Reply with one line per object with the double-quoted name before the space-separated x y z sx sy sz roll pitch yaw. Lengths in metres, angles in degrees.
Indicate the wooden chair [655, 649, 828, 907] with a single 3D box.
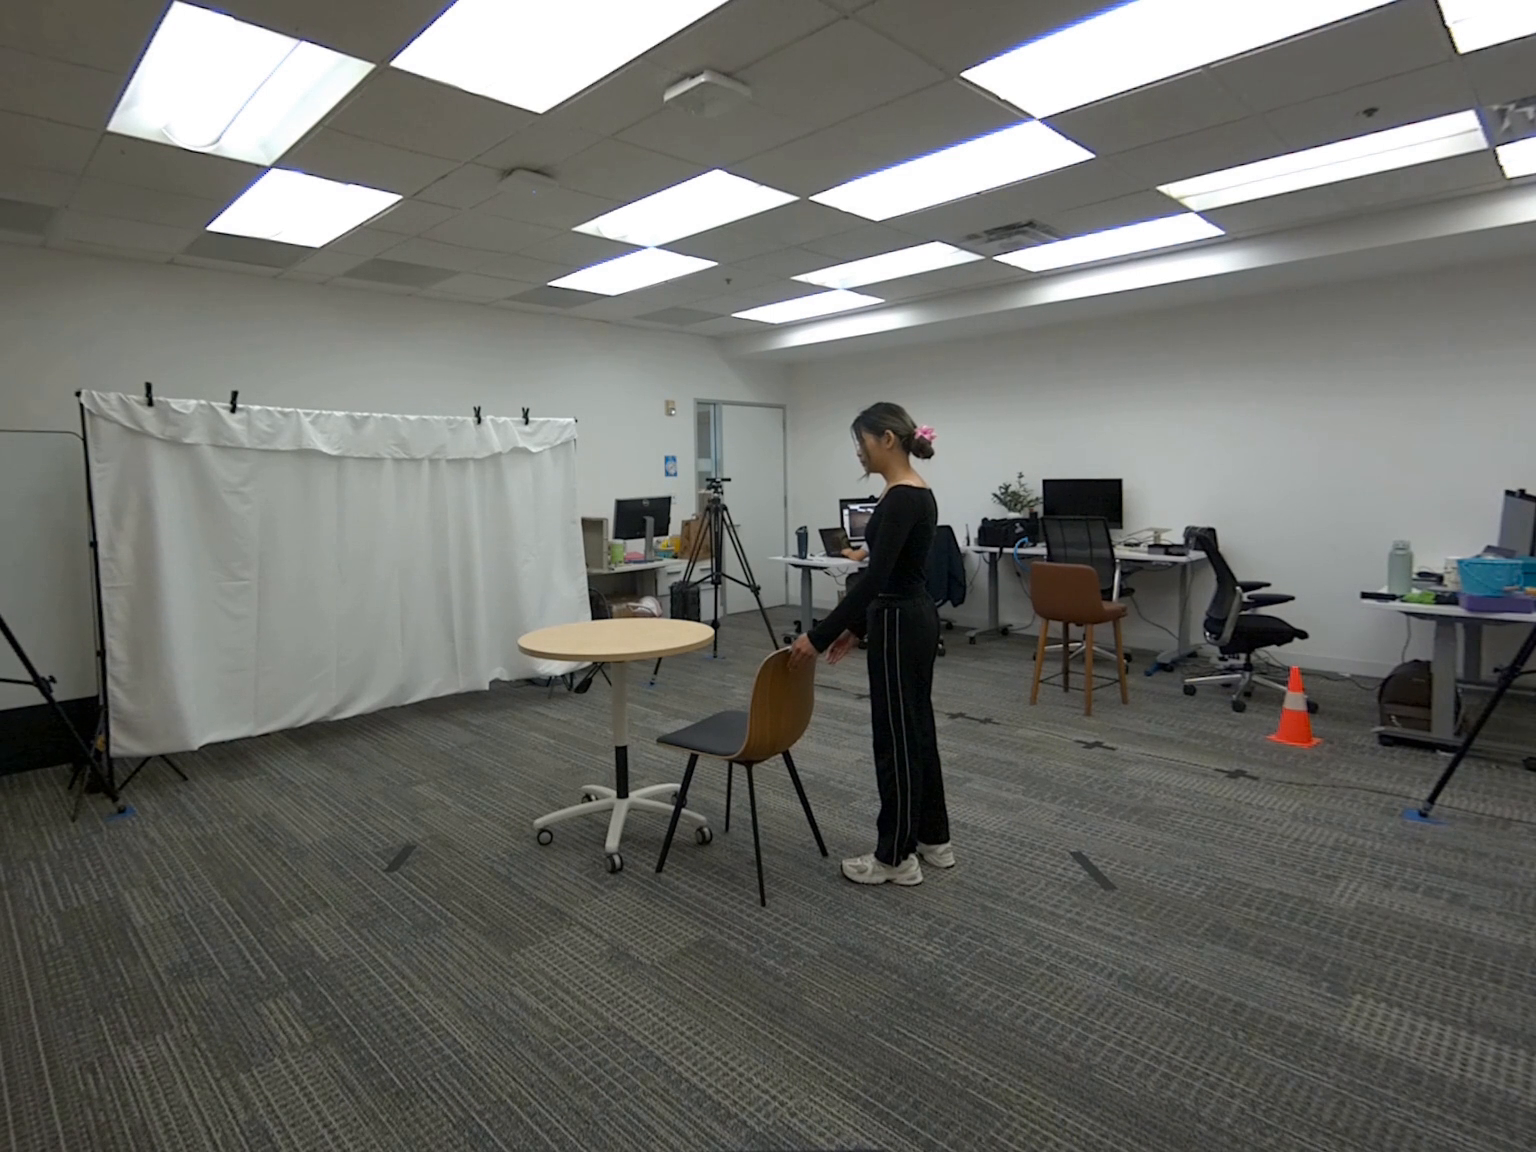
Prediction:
"wooden chair" -0.099 0.618 3.058 0.539 0.872 0.467 7 8 33
